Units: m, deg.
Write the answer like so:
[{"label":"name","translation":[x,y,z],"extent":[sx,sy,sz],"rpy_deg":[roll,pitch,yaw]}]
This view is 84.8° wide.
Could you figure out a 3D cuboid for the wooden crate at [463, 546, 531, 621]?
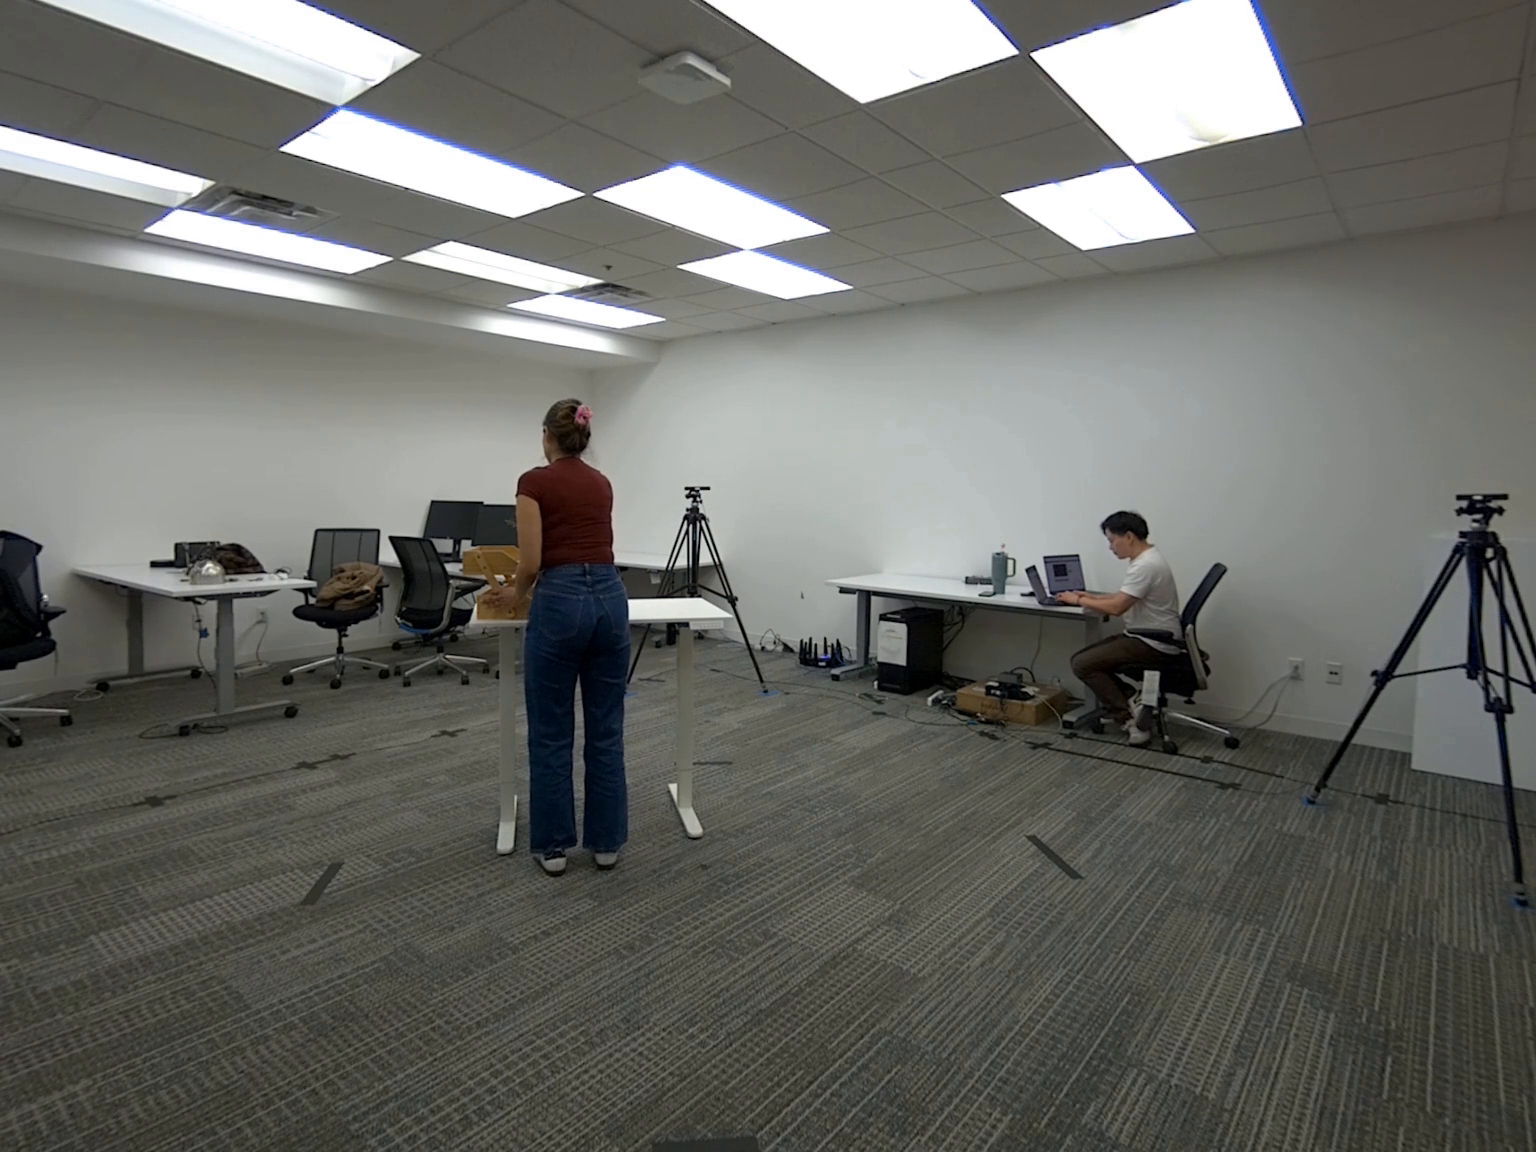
[{"label":"wooden crate","translation":[-1.043,0.017,3.379],"extent":[0.300,0.272,0.328],"rpy_deg":[0,4,-8]}]
